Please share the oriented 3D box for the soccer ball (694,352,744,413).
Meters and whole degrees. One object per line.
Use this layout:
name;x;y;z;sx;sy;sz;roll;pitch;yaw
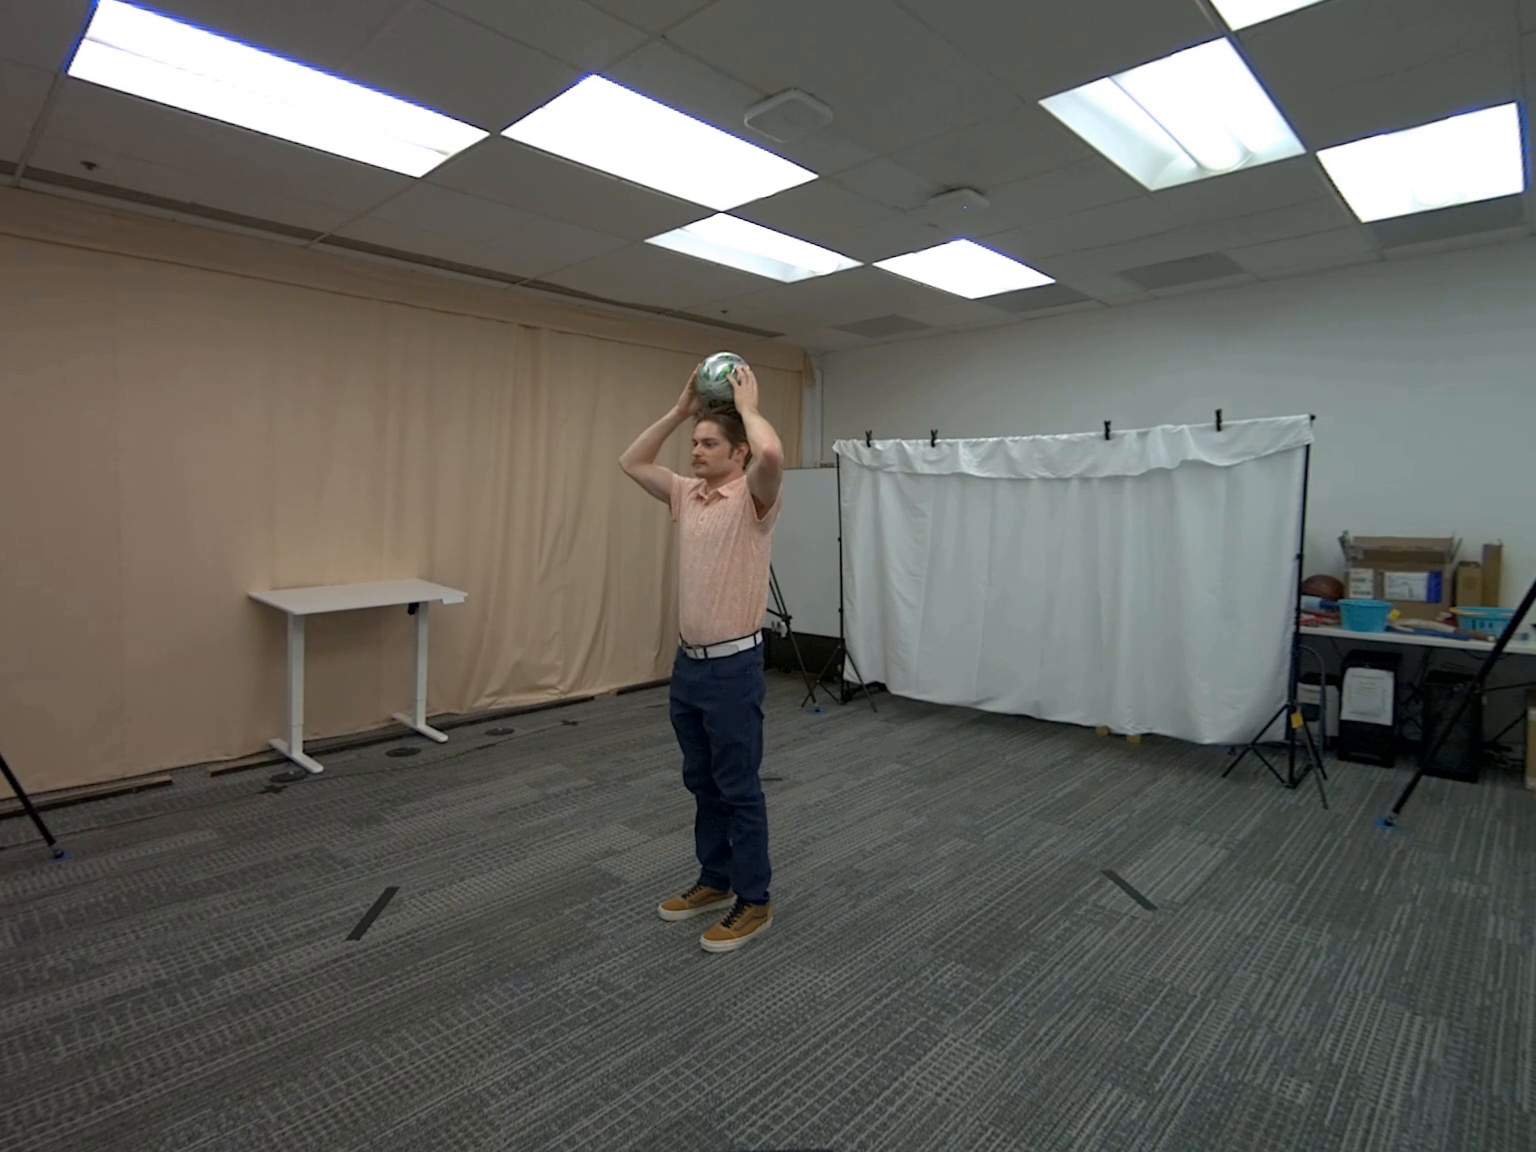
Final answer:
soccer ball;-0.134;-0.627;2.748;0.187;0.187;0.188;0;4;-2
